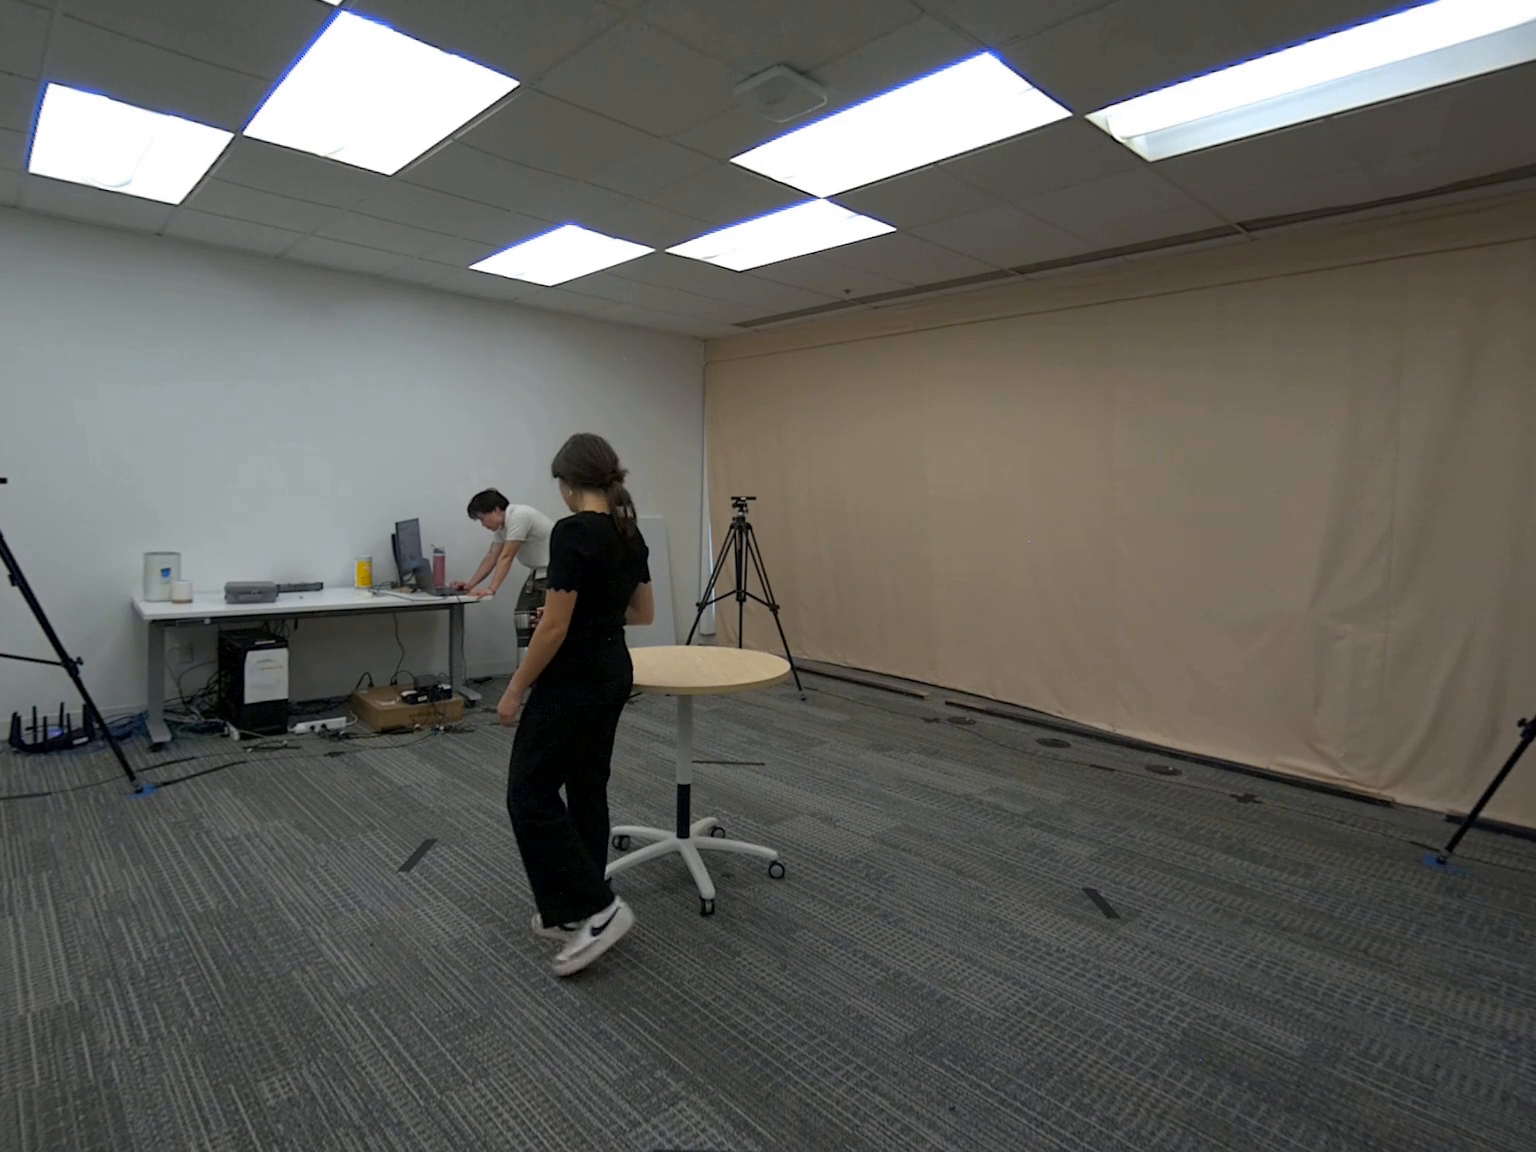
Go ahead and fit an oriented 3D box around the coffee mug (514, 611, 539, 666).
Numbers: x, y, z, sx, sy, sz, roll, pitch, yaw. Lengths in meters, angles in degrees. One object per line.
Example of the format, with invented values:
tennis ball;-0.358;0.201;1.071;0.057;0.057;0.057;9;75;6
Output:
coffee mug;-0.759;0.207;2.722;0.123;0.204;0.086;-6;-8;11
